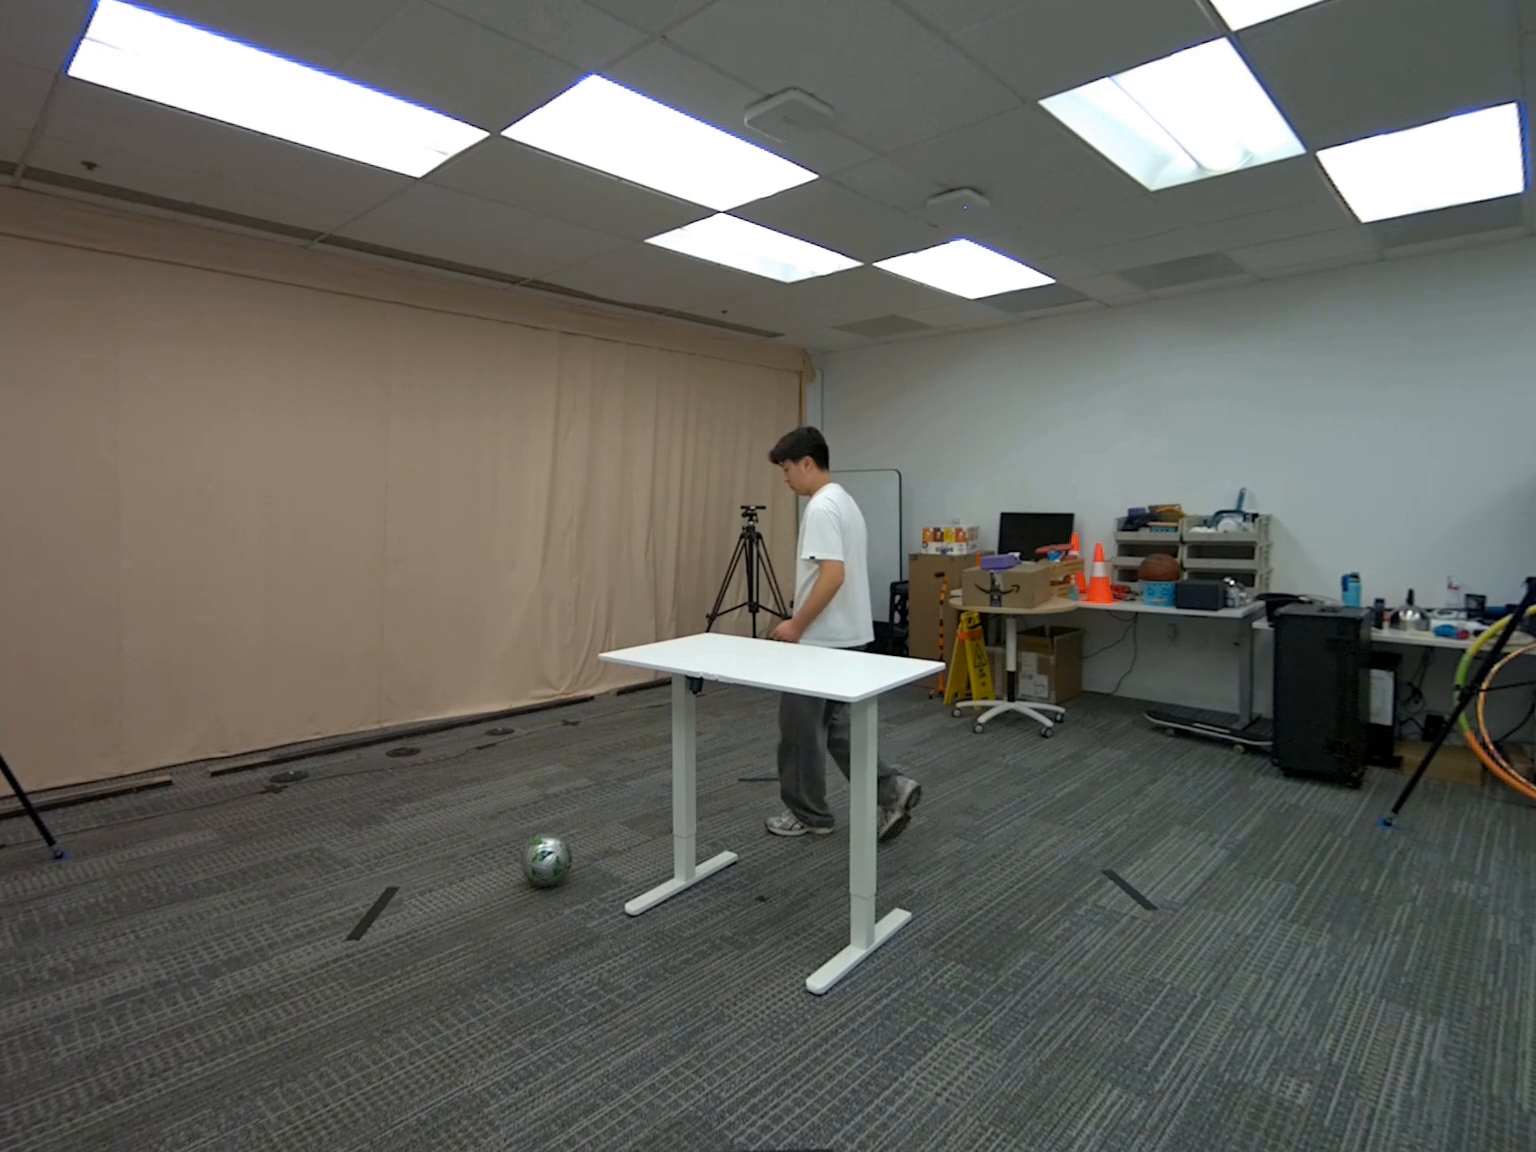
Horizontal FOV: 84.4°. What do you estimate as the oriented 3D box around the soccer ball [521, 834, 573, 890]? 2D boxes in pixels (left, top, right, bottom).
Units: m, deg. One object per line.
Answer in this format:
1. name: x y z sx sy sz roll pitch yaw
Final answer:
1. soccer ball: -0.813 1.054 3.108 0.187 0.187 0.188 0 4 -2
